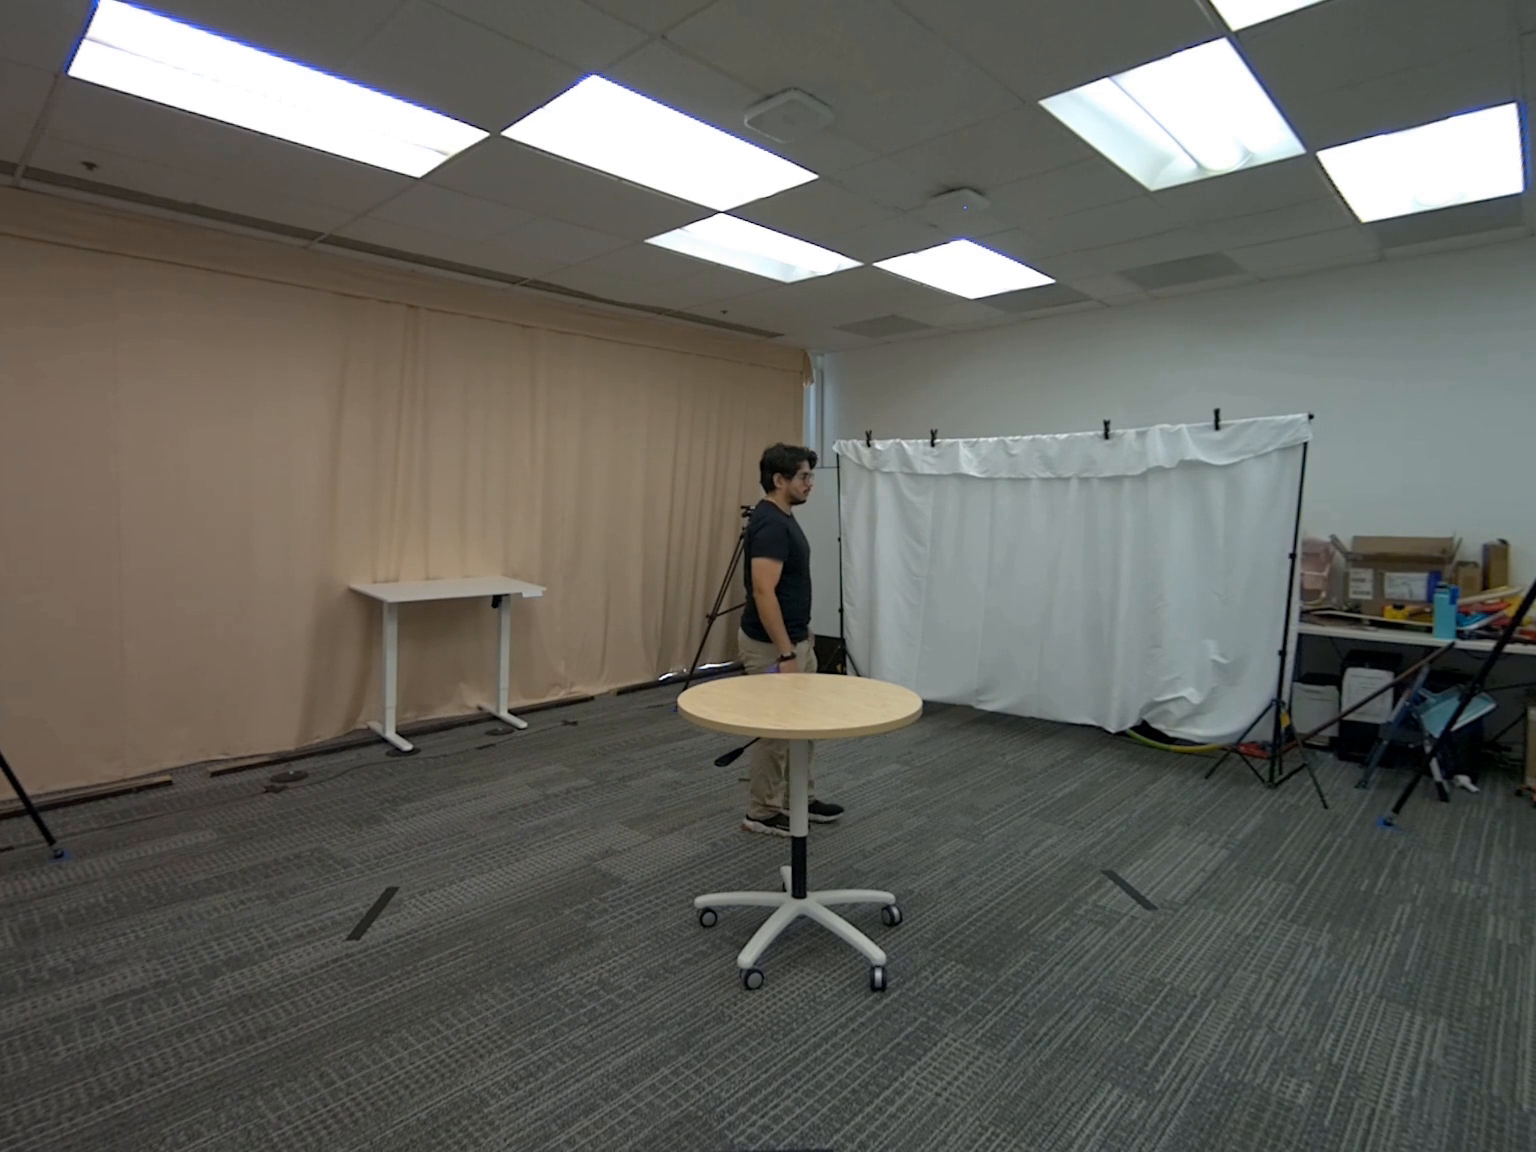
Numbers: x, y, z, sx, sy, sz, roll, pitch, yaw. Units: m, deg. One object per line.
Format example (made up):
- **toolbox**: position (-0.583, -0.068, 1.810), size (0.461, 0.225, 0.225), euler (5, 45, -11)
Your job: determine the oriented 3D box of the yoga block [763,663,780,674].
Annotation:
- **yoga block**: position (0.072, 0.459, 3.333), size (0.228, 0.150, 0.076), euler (39, 31, -4)
